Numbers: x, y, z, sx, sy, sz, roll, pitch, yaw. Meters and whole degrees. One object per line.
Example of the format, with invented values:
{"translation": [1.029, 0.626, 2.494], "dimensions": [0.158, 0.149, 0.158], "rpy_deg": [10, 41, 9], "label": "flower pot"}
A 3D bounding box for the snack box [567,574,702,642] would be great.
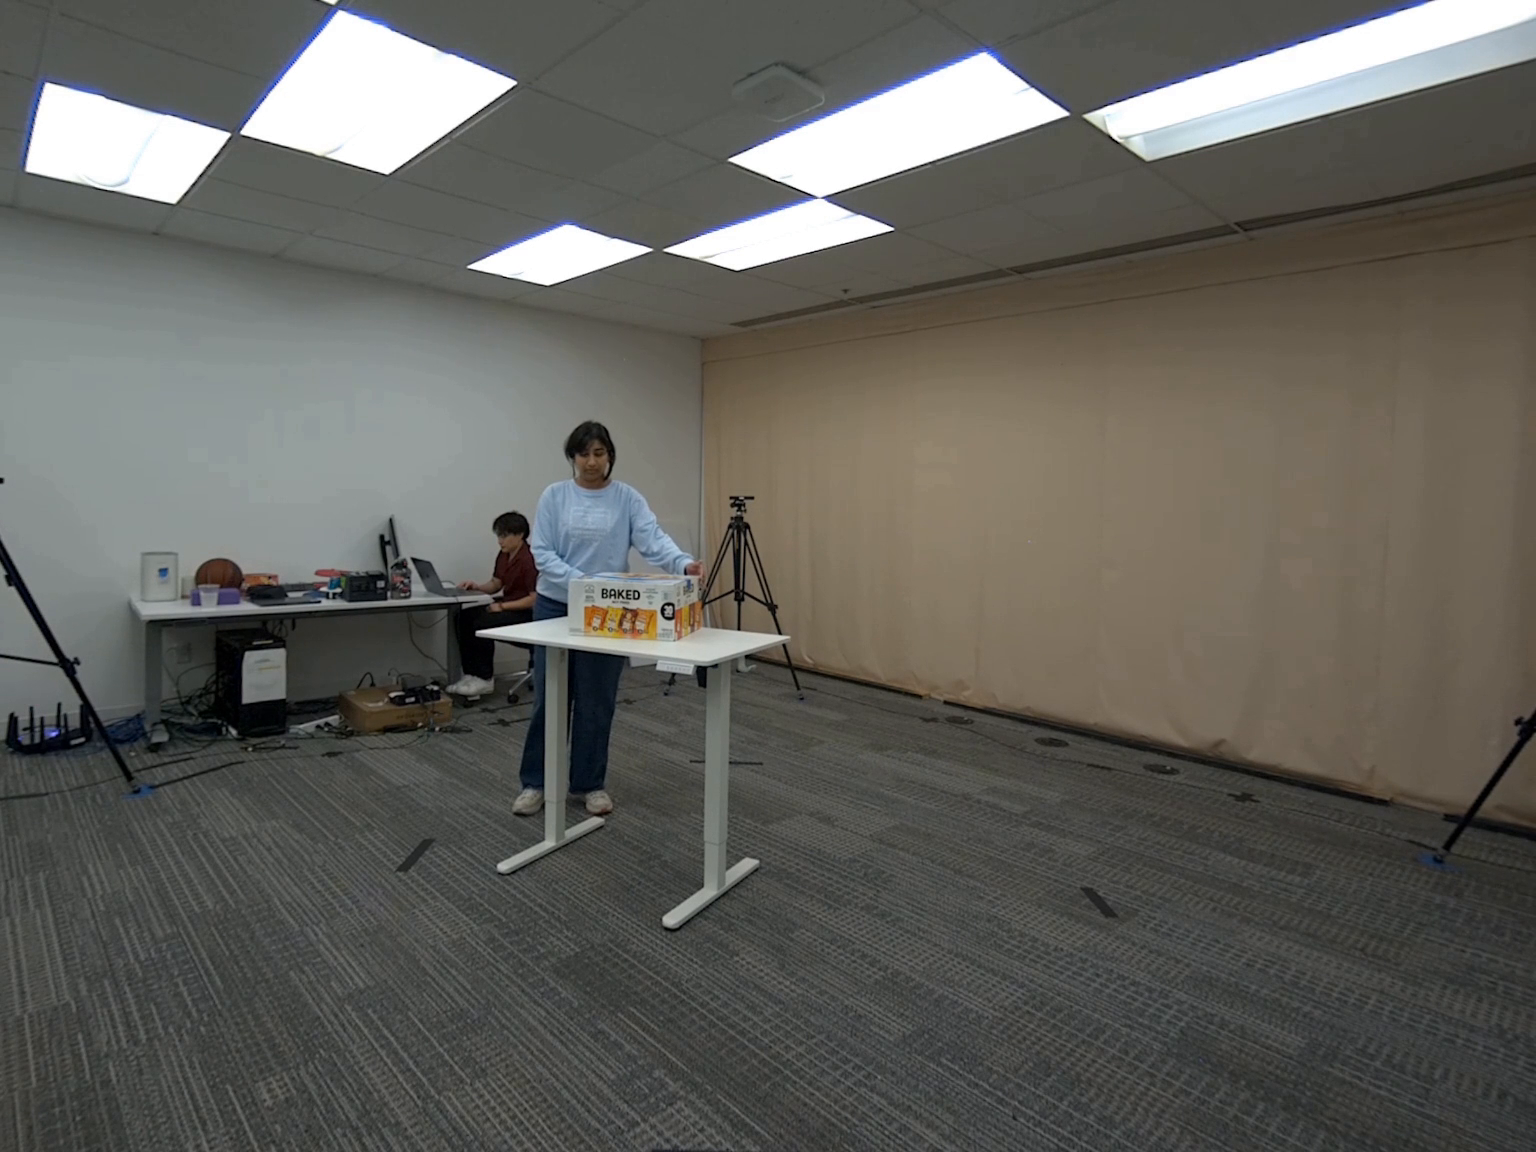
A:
{"translation": [-0.497, 0.108, 3.152], "dimensions": [0.410, 0.205, 0.337], "rpy_deg": [2, 4, 13], "label": "snack box"}
